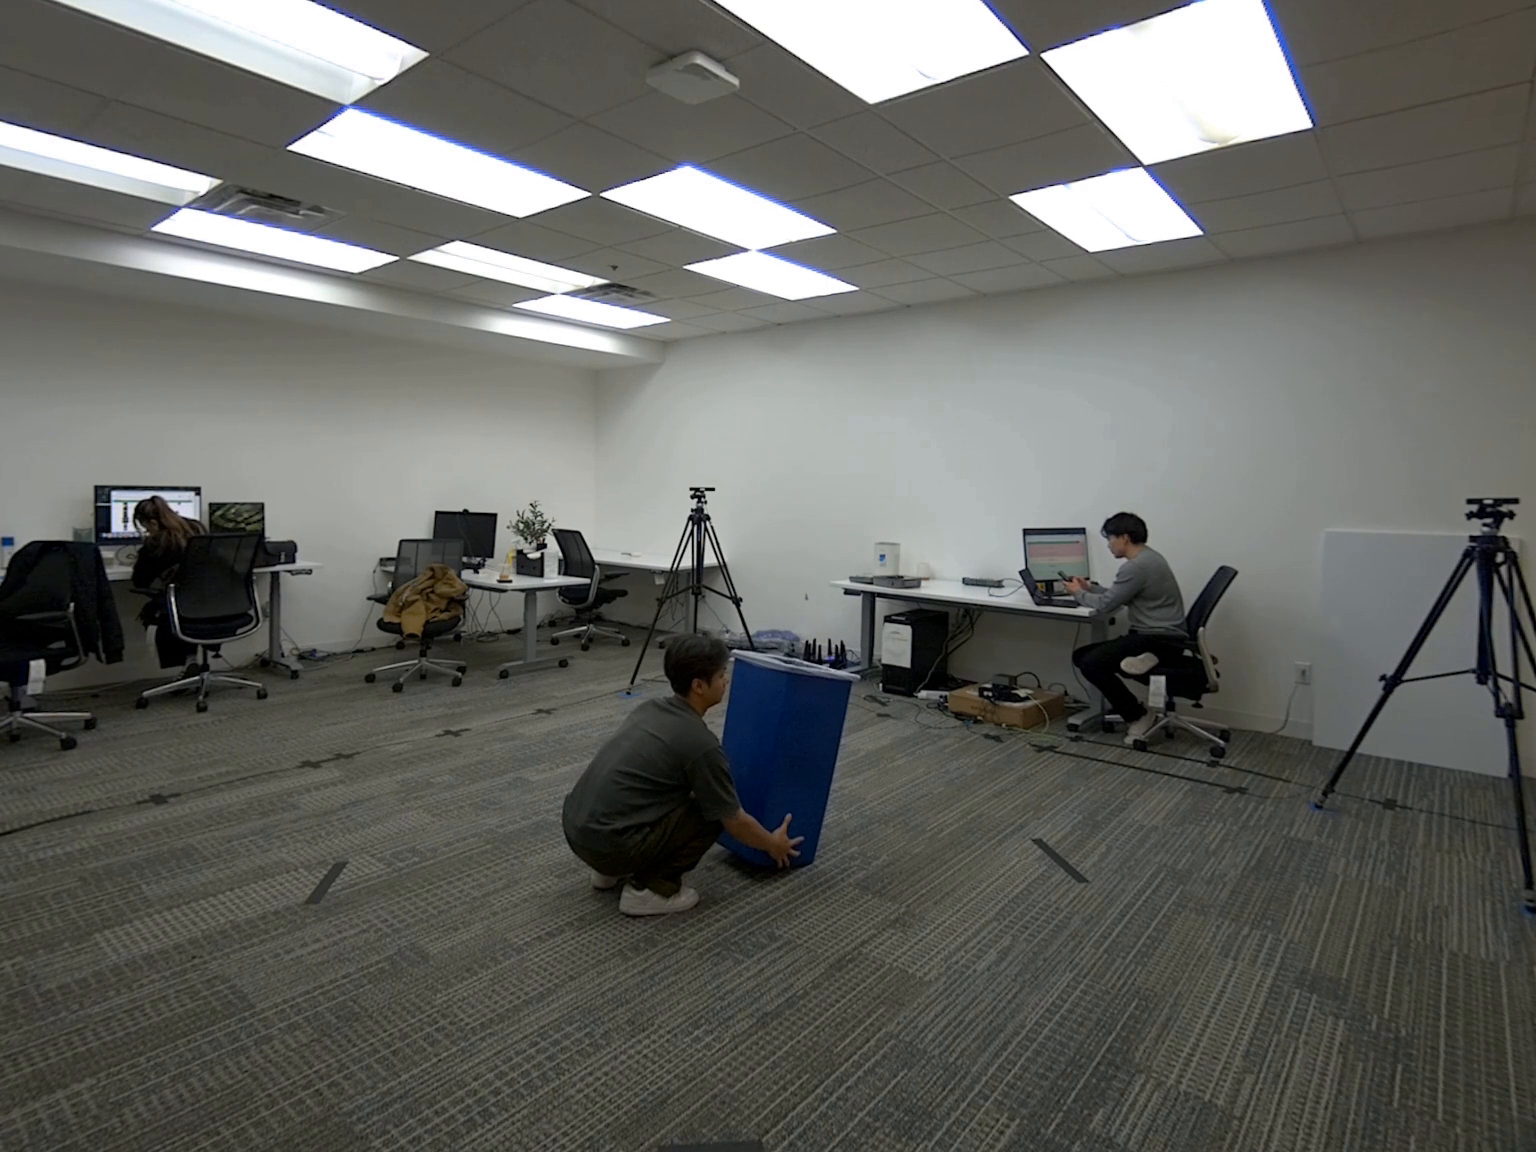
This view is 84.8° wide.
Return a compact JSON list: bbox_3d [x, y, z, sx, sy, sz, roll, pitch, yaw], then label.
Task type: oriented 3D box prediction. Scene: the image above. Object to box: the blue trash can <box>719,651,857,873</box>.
[{"bbox_3d":[0.020,0.672,3.235,0.364,0.715,0.387,14,-4,-38],"label":"blue trash can"}]
